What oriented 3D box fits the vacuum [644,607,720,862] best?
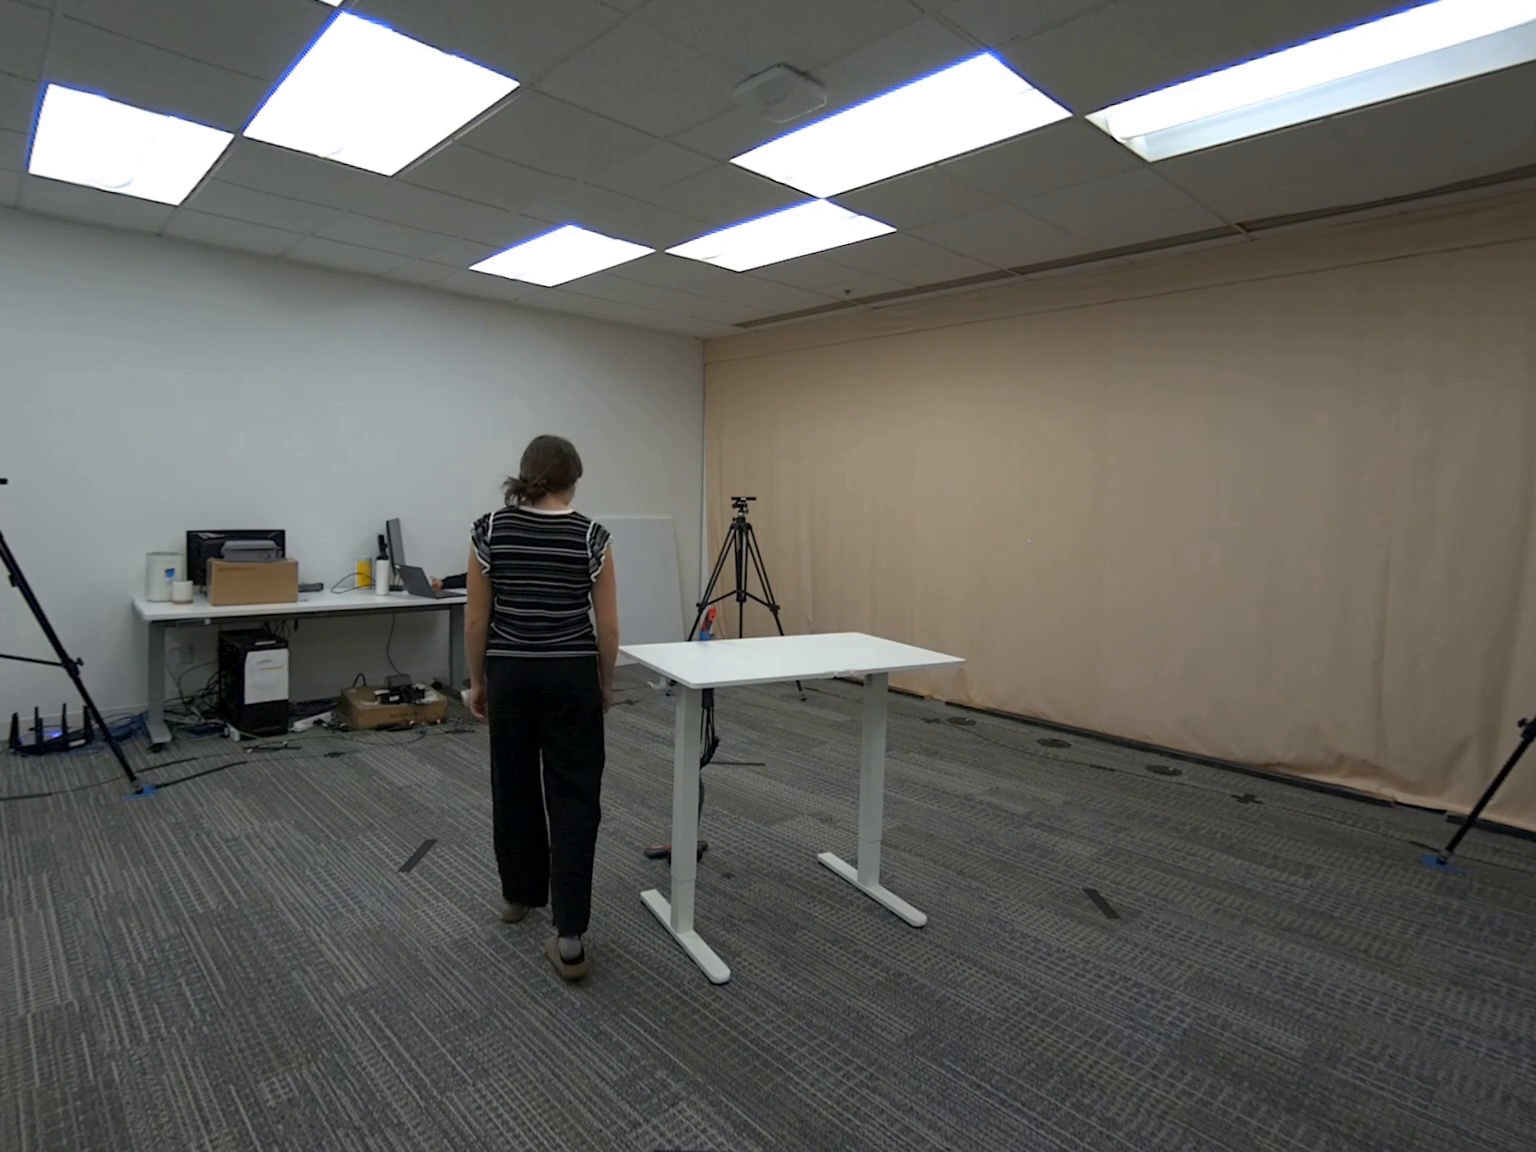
[{"bbox_3d":[-0.282,0.612,3.103,0.248,1.037,0.148,0,20,-23],"label":"vacuum"}]
